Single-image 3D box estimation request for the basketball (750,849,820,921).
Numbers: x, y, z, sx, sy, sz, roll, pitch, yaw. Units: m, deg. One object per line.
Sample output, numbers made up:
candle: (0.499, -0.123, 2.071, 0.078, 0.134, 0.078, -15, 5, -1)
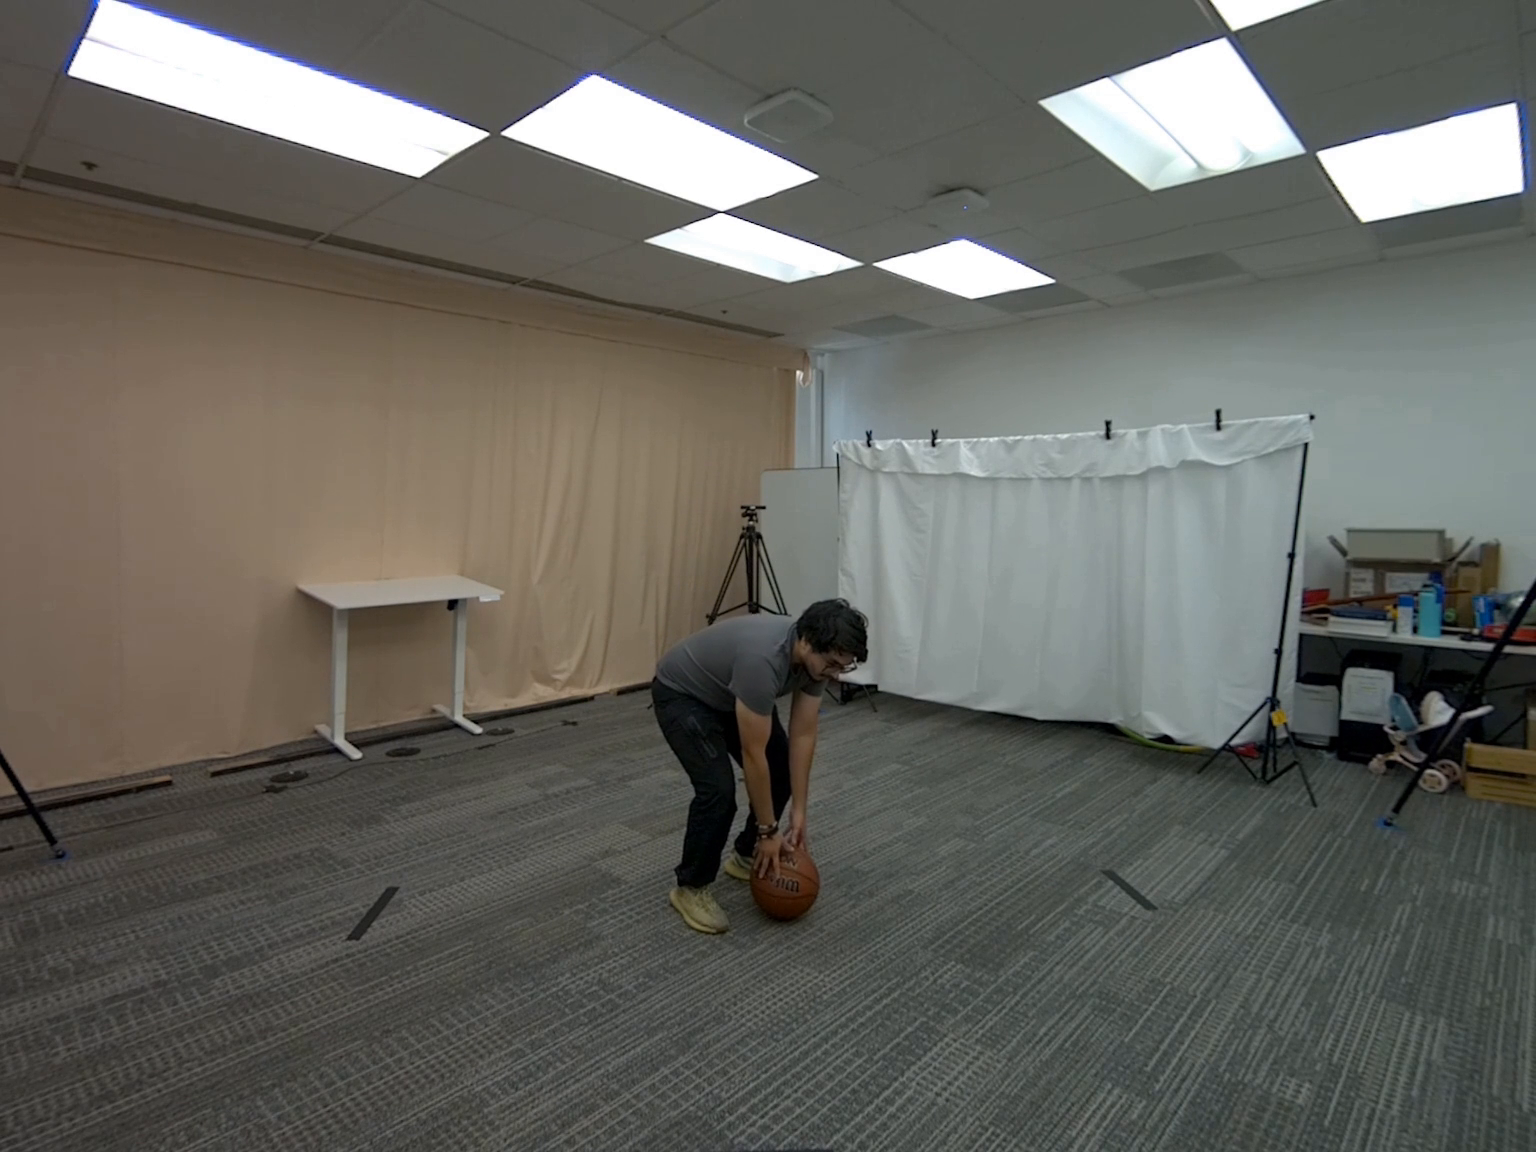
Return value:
basketball: (0.063, 1.029, 2.856, 0.236, 0.235, 0.237, 0, 4, -2)
